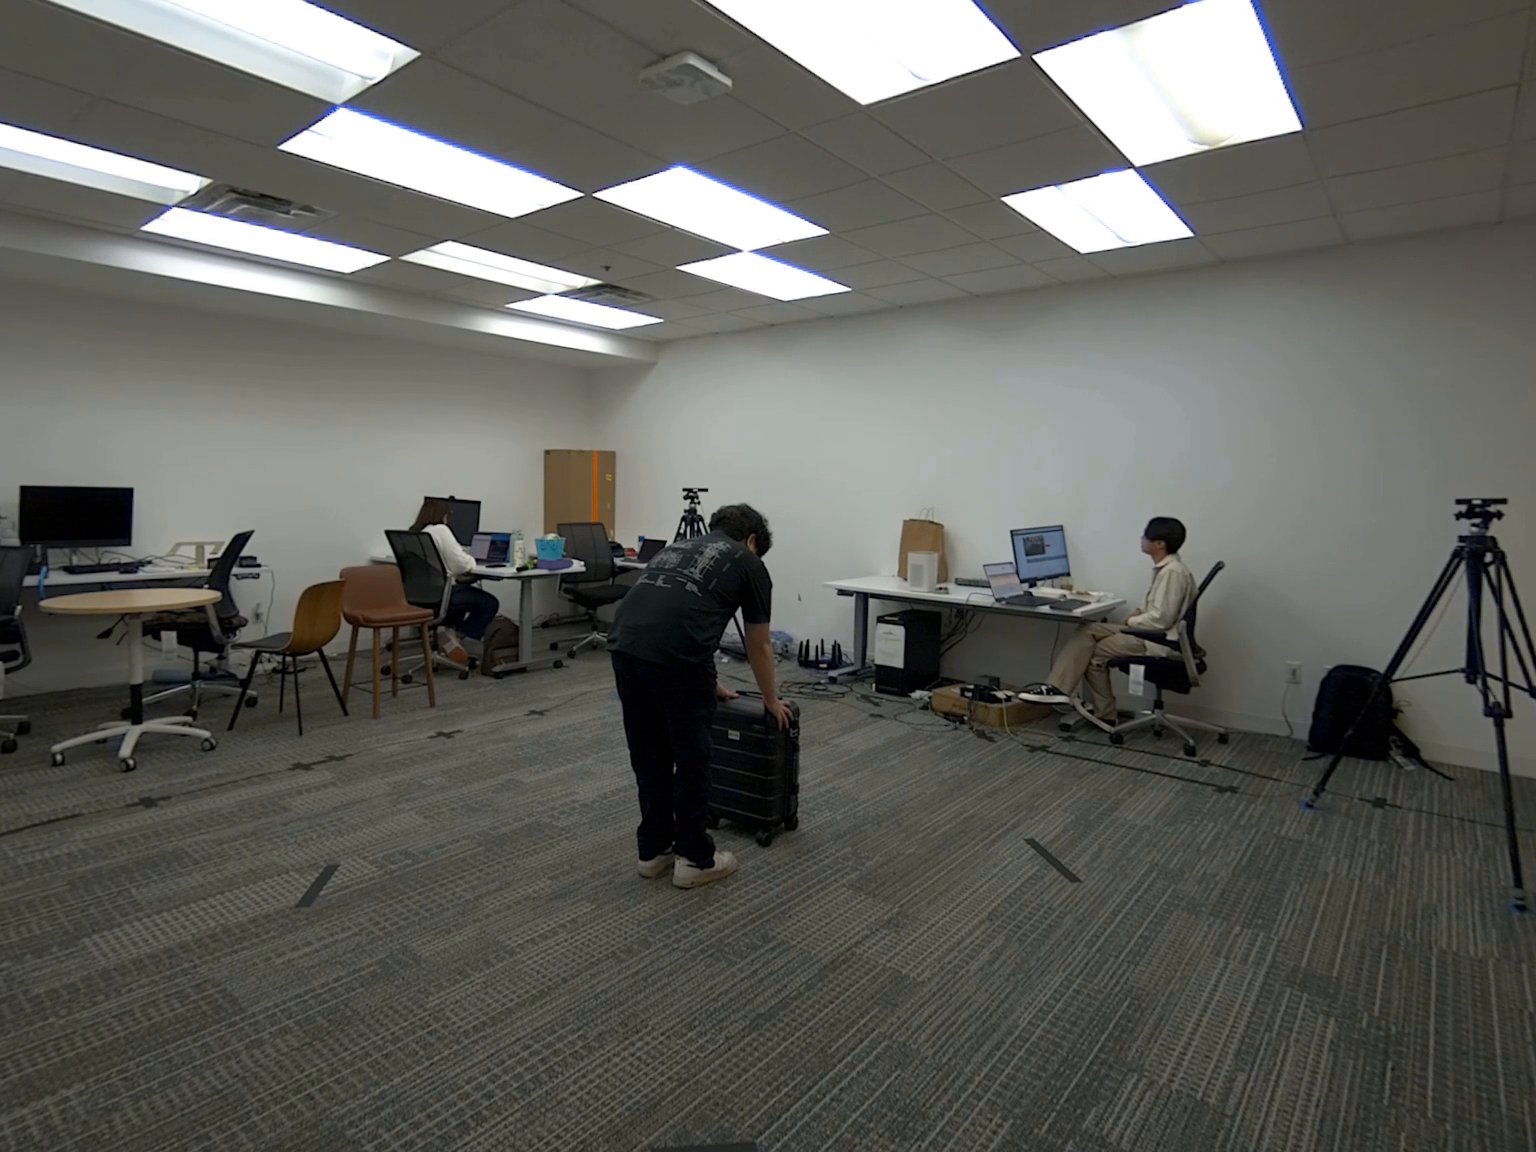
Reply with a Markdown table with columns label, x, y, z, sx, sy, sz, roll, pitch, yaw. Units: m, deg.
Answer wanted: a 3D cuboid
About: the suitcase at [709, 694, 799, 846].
| label | x | y | z | sx | sy | sz | roll | pitch | yaw |
| --- | --- | --- | --- | --- | --- | --- | --- | --- | --- |
| suitcase | -0.070 | 0.762 | 3.507 | 0.387 | 0.548 | 0.241 | 3 | 3 | 31 |
